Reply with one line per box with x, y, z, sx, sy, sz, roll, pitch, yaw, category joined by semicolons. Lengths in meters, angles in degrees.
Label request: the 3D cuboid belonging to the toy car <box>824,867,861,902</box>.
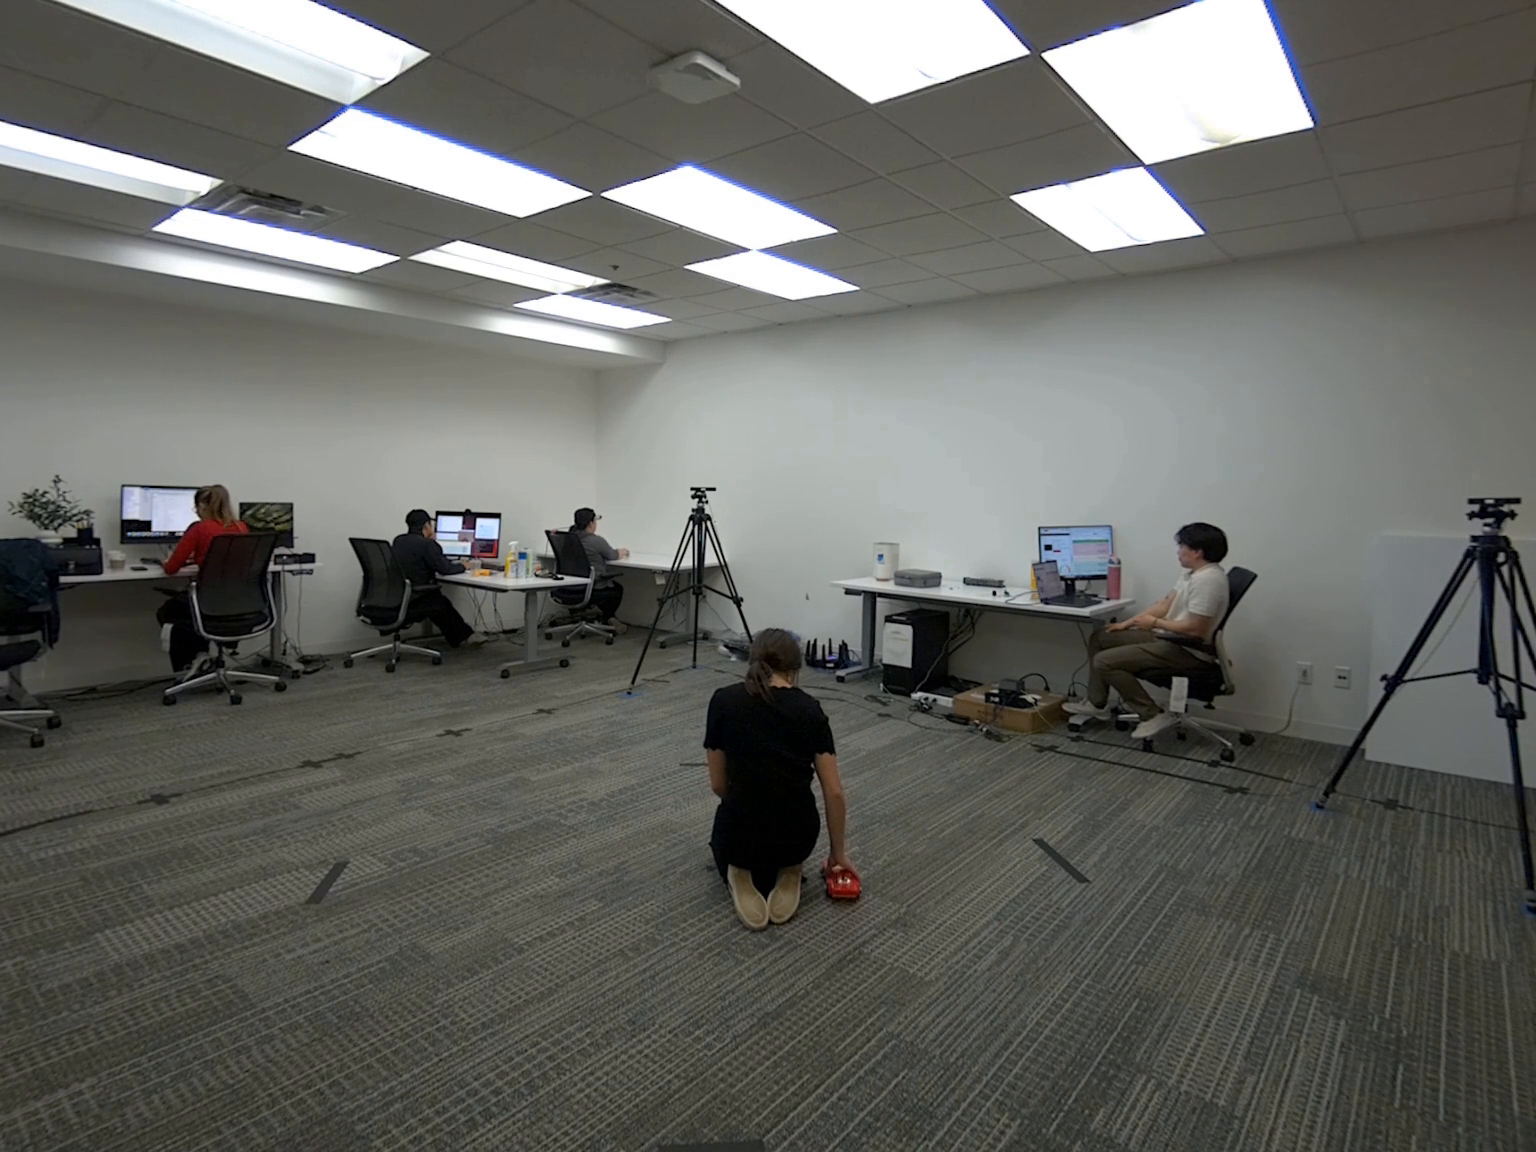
0.247;1.062;2.965;0.130;0.083;0.254;2;-3;-2;toy car
